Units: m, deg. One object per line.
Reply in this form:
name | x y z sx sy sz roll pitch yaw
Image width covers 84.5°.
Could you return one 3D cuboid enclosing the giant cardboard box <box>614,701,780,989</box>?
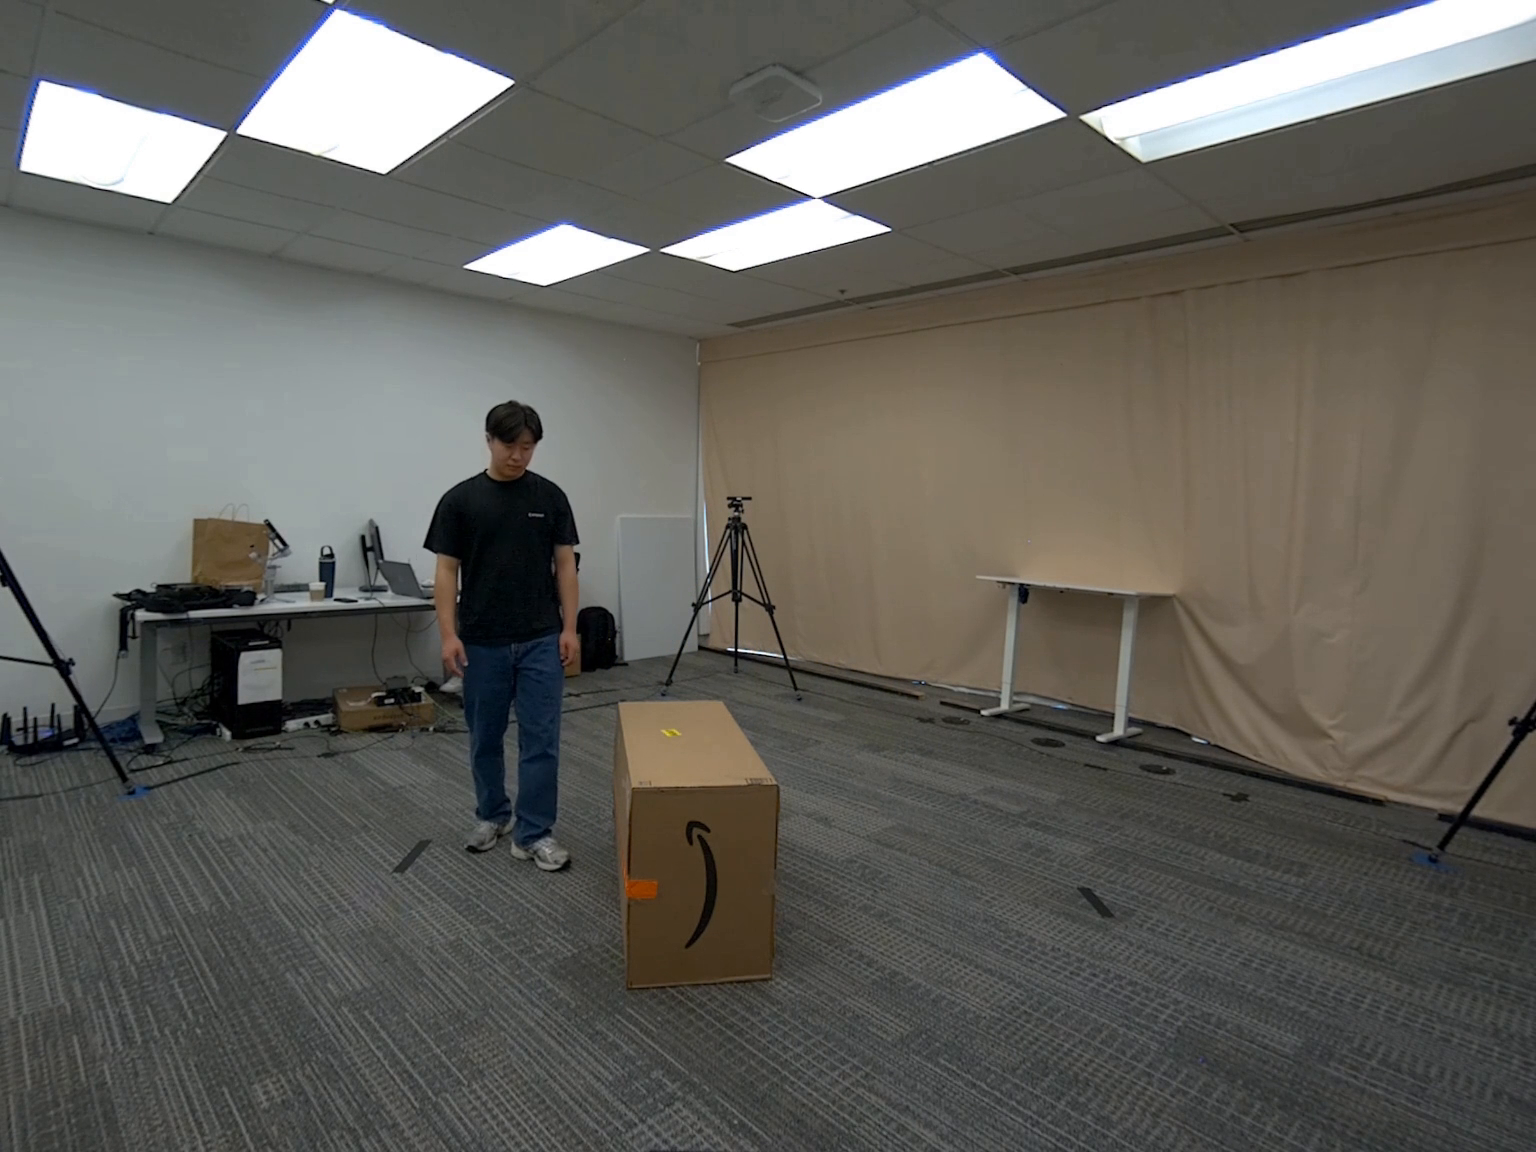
giant cardboard box | -0.295 0.836 2.889 0.443 0.582 1.039 0 4 -12
